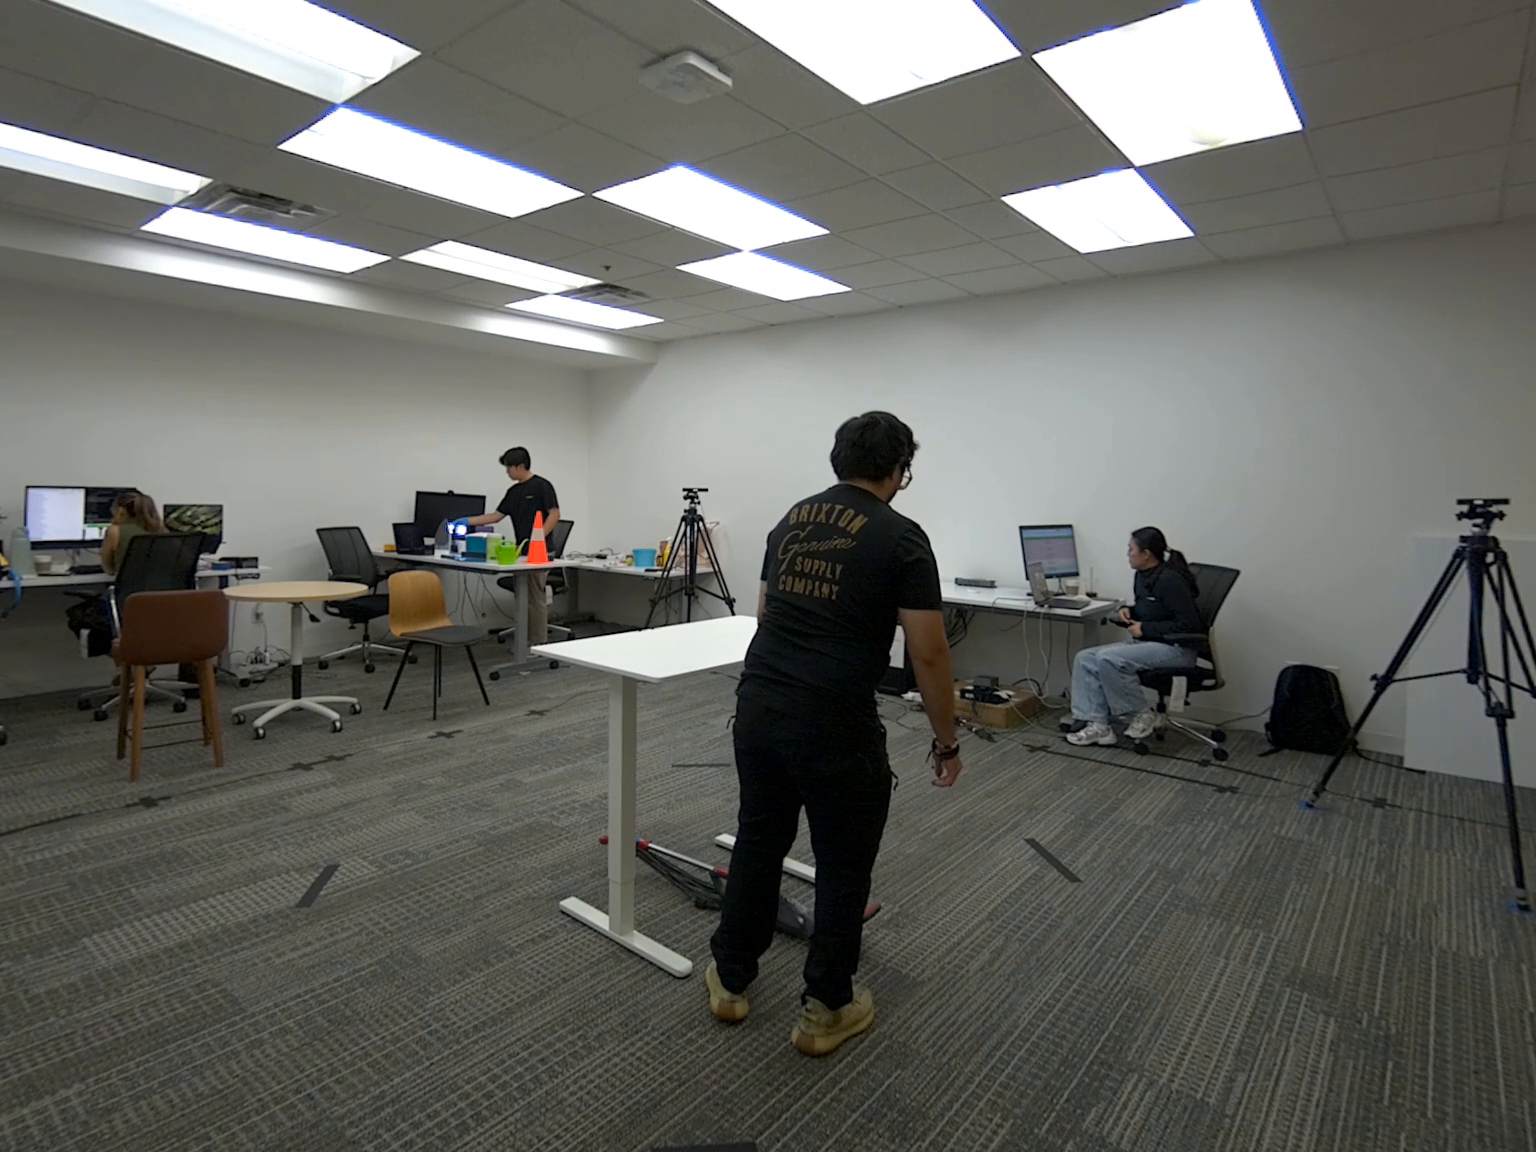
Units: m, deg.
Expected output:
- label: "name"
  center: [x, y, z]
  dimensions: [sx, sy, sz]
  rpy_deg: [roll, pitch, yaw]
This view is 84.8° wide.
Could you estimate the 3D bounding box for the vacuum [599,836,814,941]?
- label: "vacuum"
  center: [-0.189, 1.035, 2.859]
  dimensions: [1.083, 0.144, 0.245]
  rpy_deg: [4, 4, 36]
